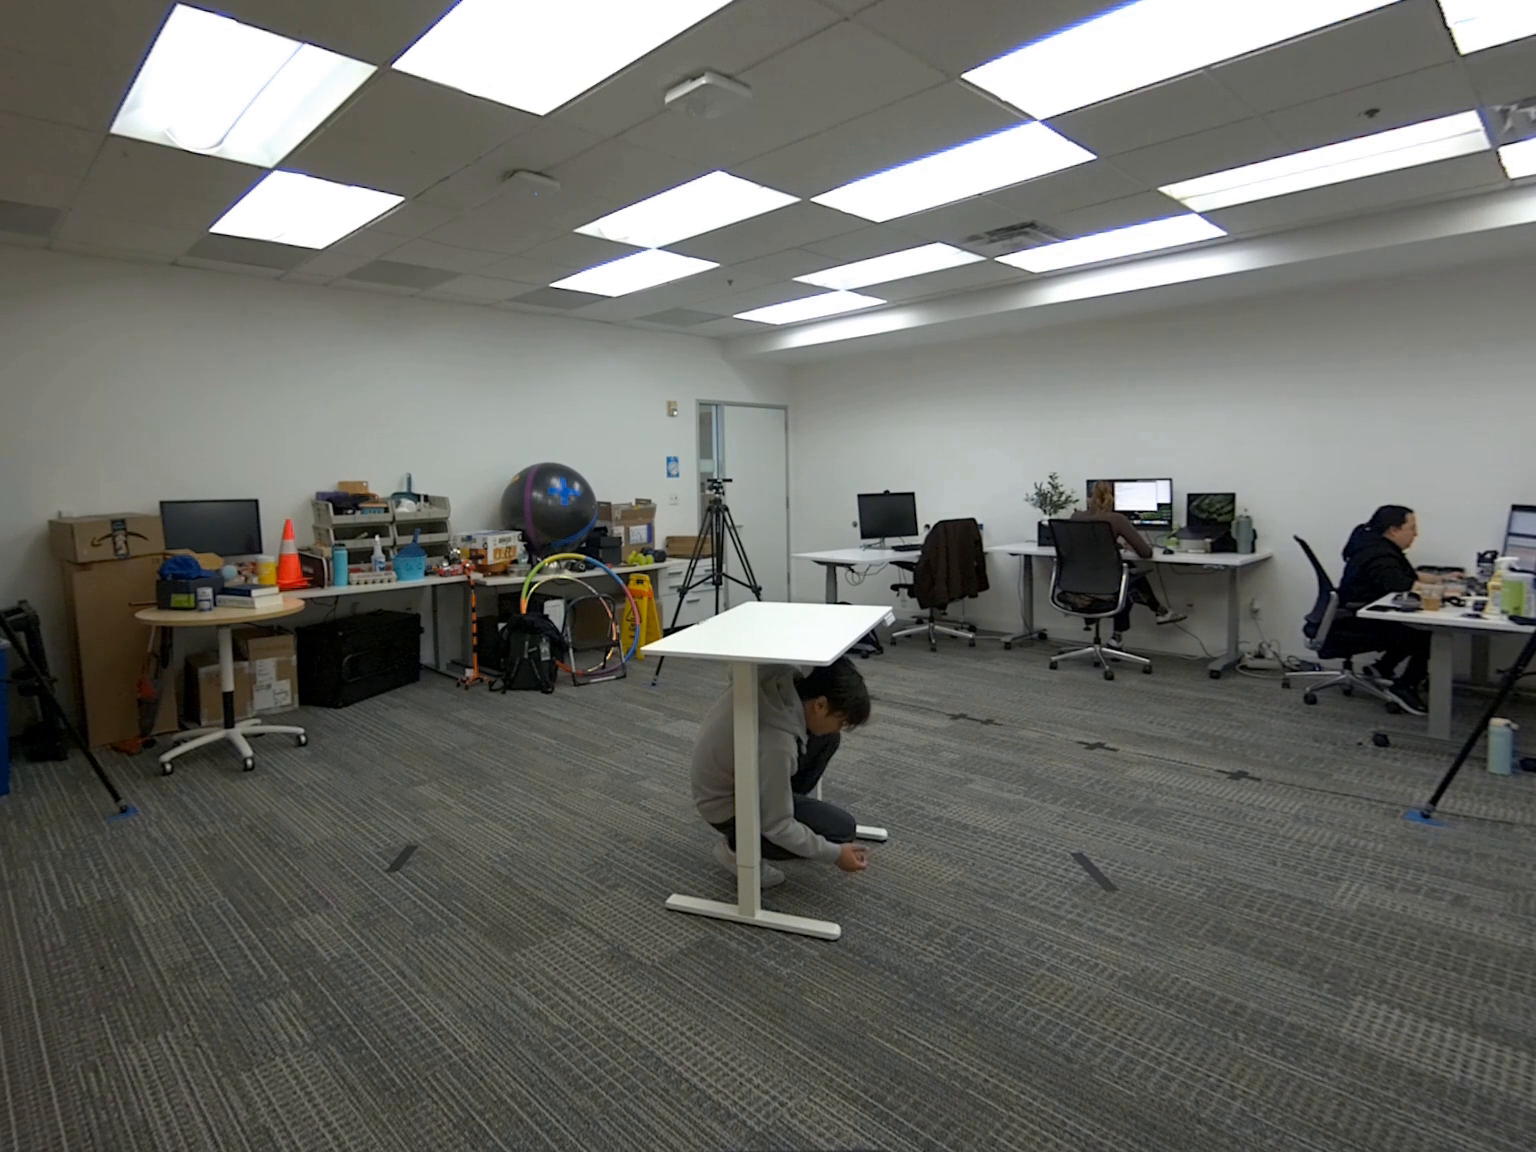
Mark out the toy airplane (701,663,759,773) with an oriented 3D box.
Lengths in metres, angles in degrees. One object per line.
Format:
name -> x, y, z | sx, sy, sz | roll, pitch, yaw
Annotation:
toy airplane -> -0.061, 0.511, 3.092 | 0.150, 0.259, 0.261 | 30, 8, -39
